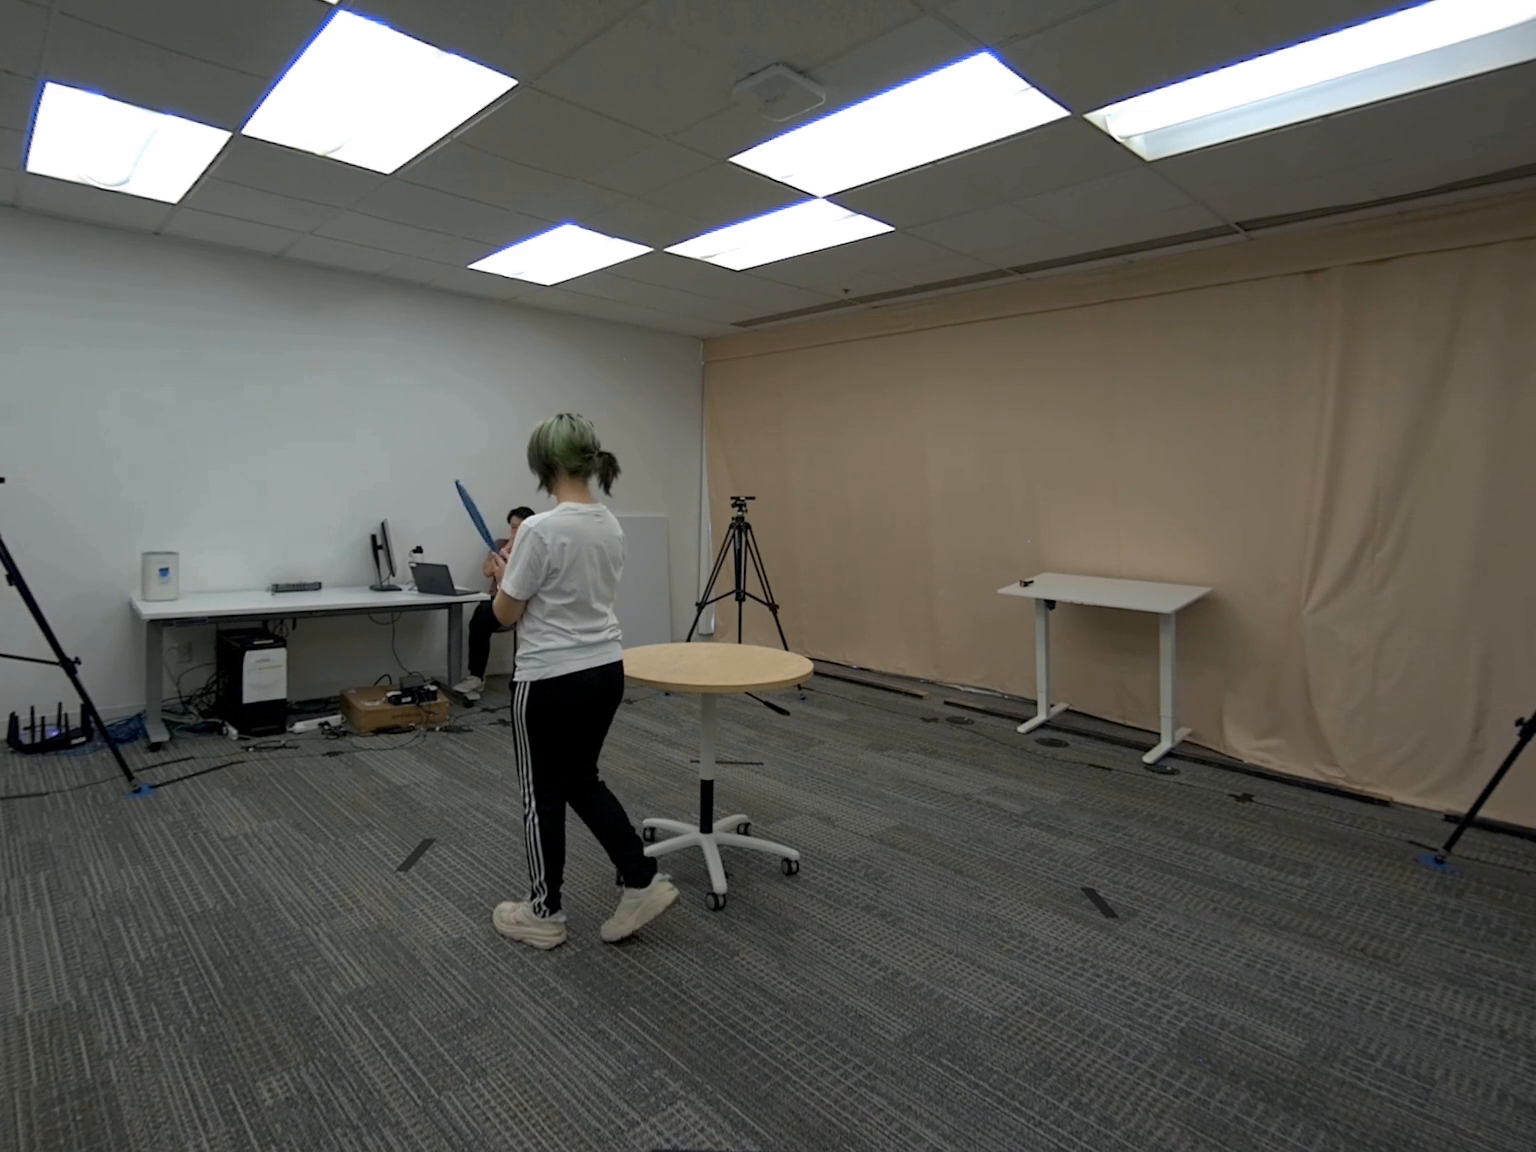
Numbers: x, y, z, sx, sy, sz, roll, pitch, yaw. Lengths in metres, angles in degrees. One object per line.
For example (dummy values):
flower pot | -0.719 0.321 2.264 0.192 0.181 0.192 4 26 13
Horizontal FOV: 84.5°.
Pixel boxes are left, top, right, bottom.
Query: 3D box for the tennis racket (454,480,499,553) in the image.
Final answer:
tennis racket | -0.946 -0.144 2.809 0.031 0.441 0.211 -26 -20 -21
